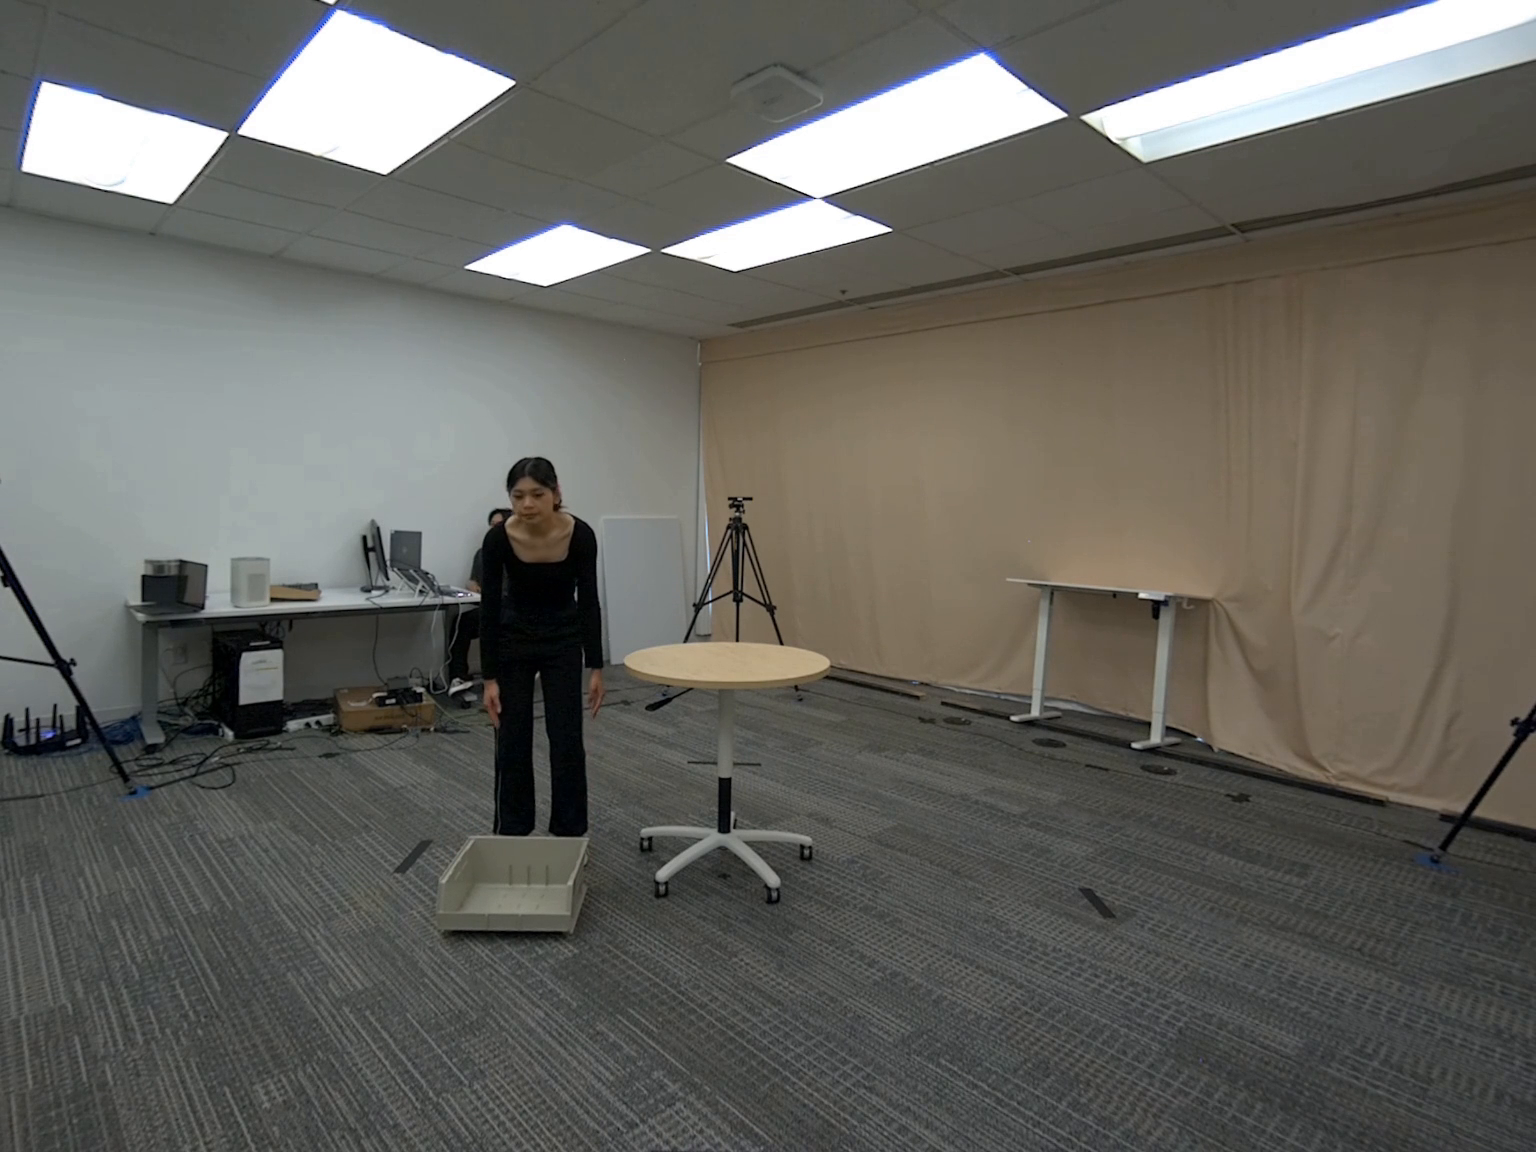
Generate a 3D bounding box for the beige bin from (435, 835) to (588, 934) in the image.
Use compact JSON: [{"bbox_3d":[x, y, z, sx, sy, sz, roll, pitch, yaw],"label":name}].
[{"bbox_3d":[-0.840,1.035,2.790,0.422,0.188,0.379,0,4,-2],"label":"beige bin"}]
